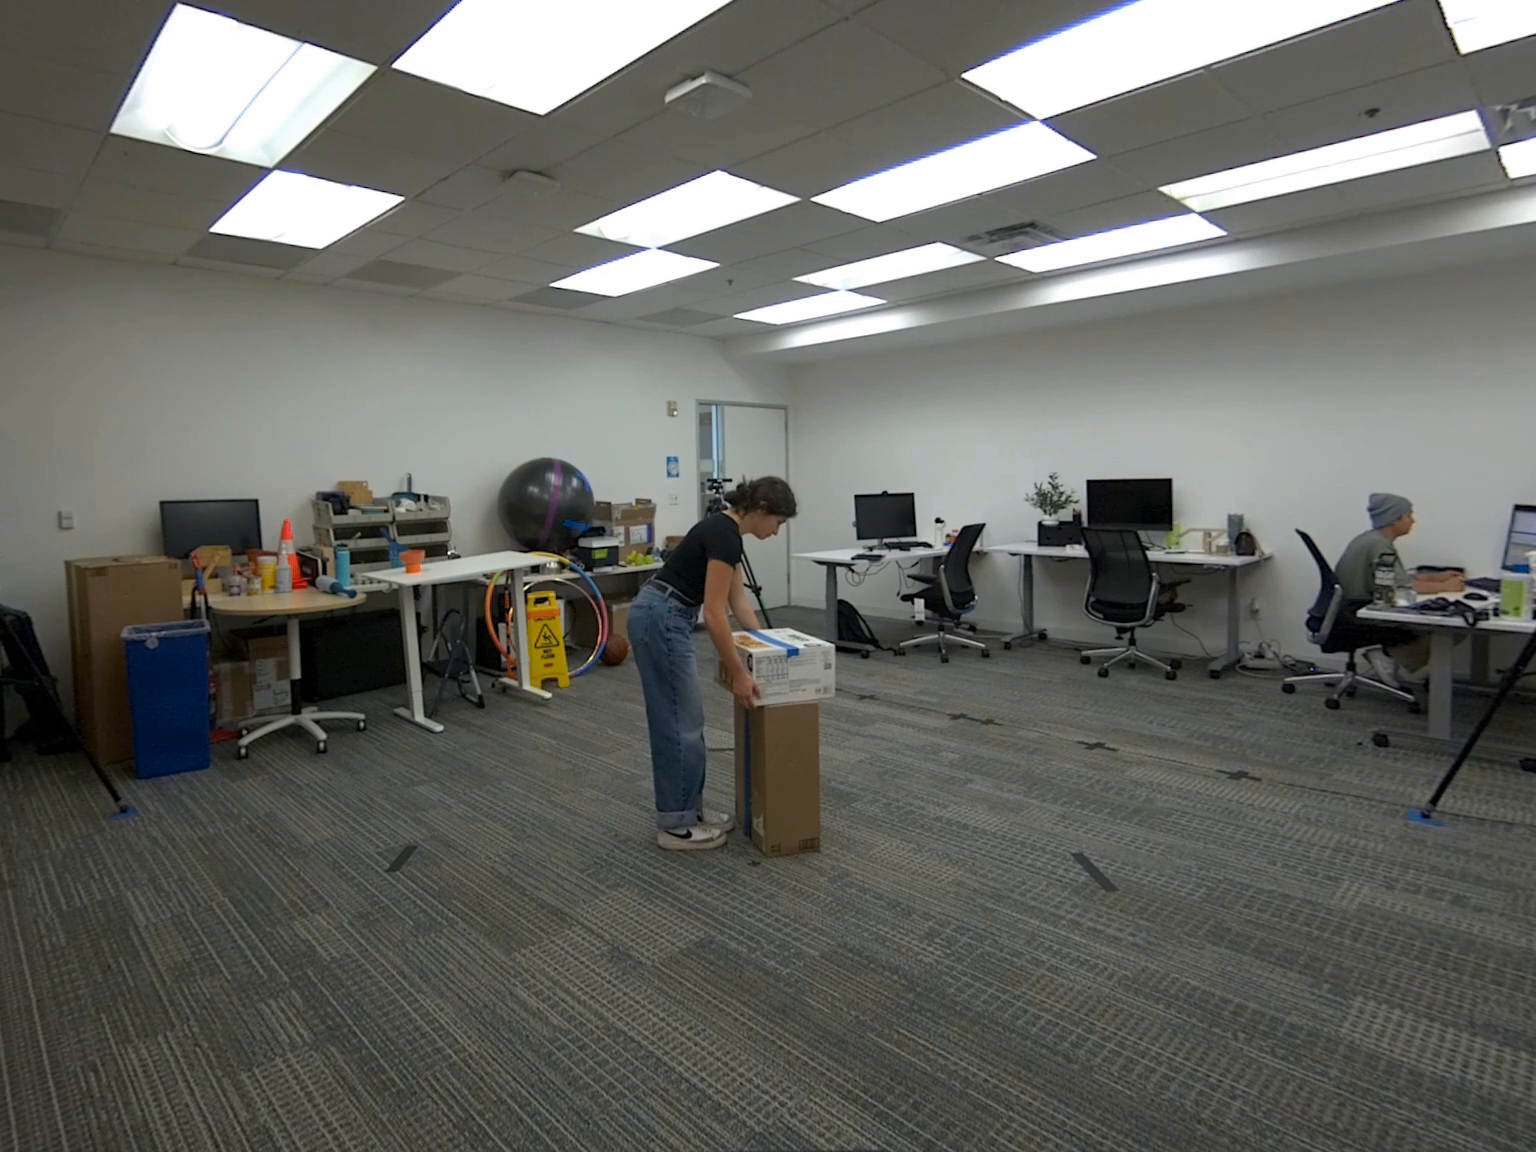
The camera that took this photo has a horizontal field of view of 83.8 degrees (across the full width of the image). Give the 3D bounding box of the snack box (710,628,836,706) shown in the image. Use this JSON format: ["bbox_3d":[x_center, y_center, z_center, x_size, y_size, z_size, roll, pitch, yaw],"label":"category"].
[{"bbox_3d":[0.017,0.347,3.345,0.334,0.205,0.415,-3,7,-23],"label":"snack box"}]
